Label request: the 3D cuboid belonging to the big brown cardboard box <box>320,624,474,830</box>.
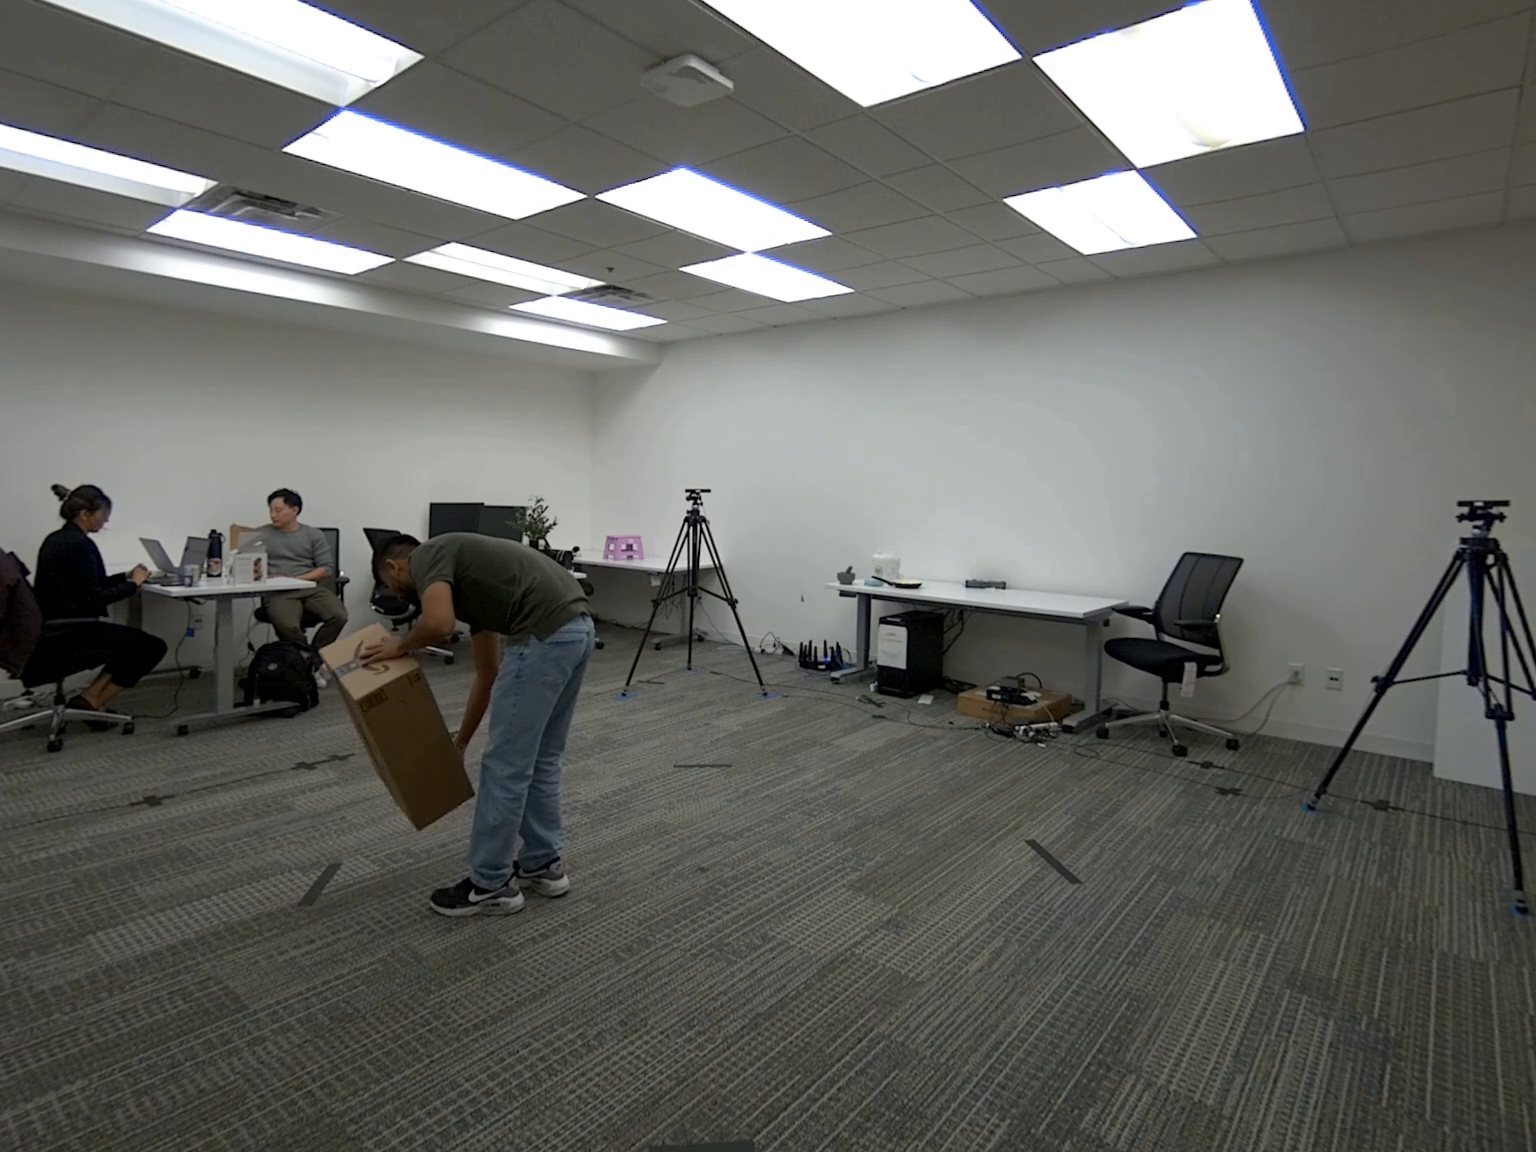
[{"bbox_3d":[-1.265,0.515,2.886,0.230,0.572,0.435,-29,35,-31],"label":"big brown cardboard box"}]
